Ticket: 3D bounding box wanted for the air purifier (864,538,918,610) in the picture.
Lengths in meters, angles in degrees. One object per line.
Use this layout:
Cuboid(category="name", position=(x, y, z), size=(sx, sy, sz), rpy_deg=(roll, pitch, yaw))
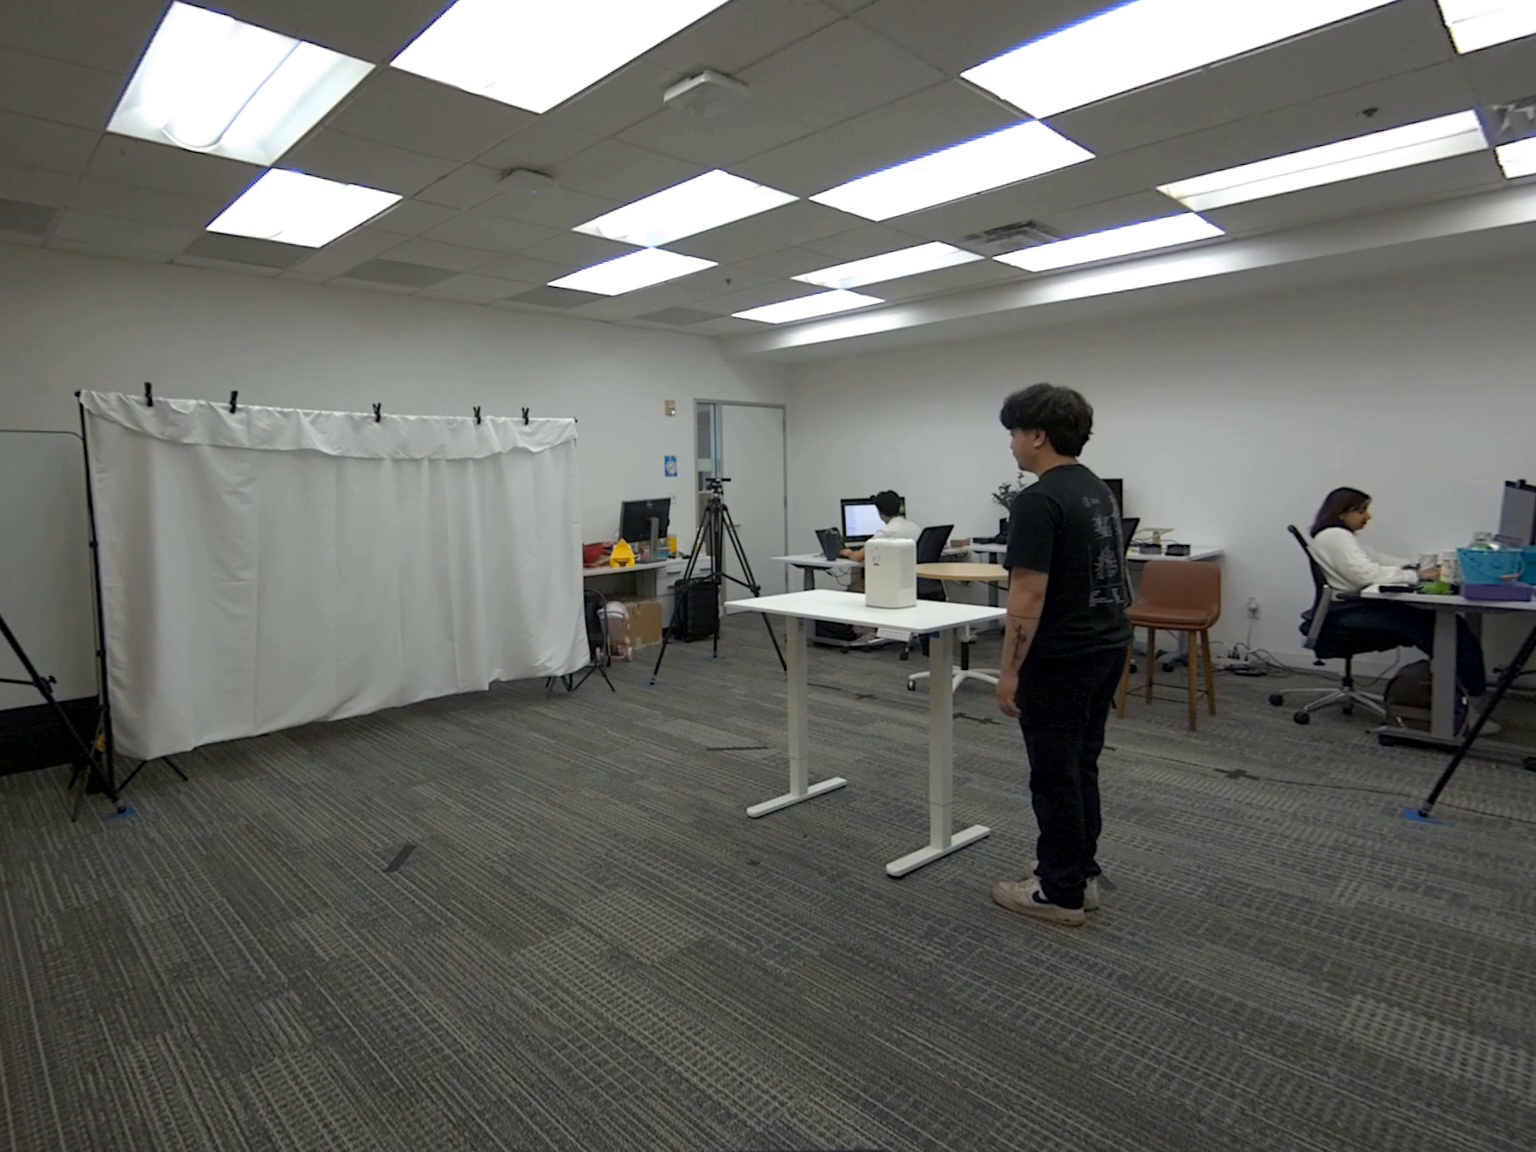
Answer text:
Cuboid(category="air purifier", position=(0.488, -0.015, 3.380), size=(0.167, 0.264, 0.176), rpy_deg=(-4, 5, -41))
